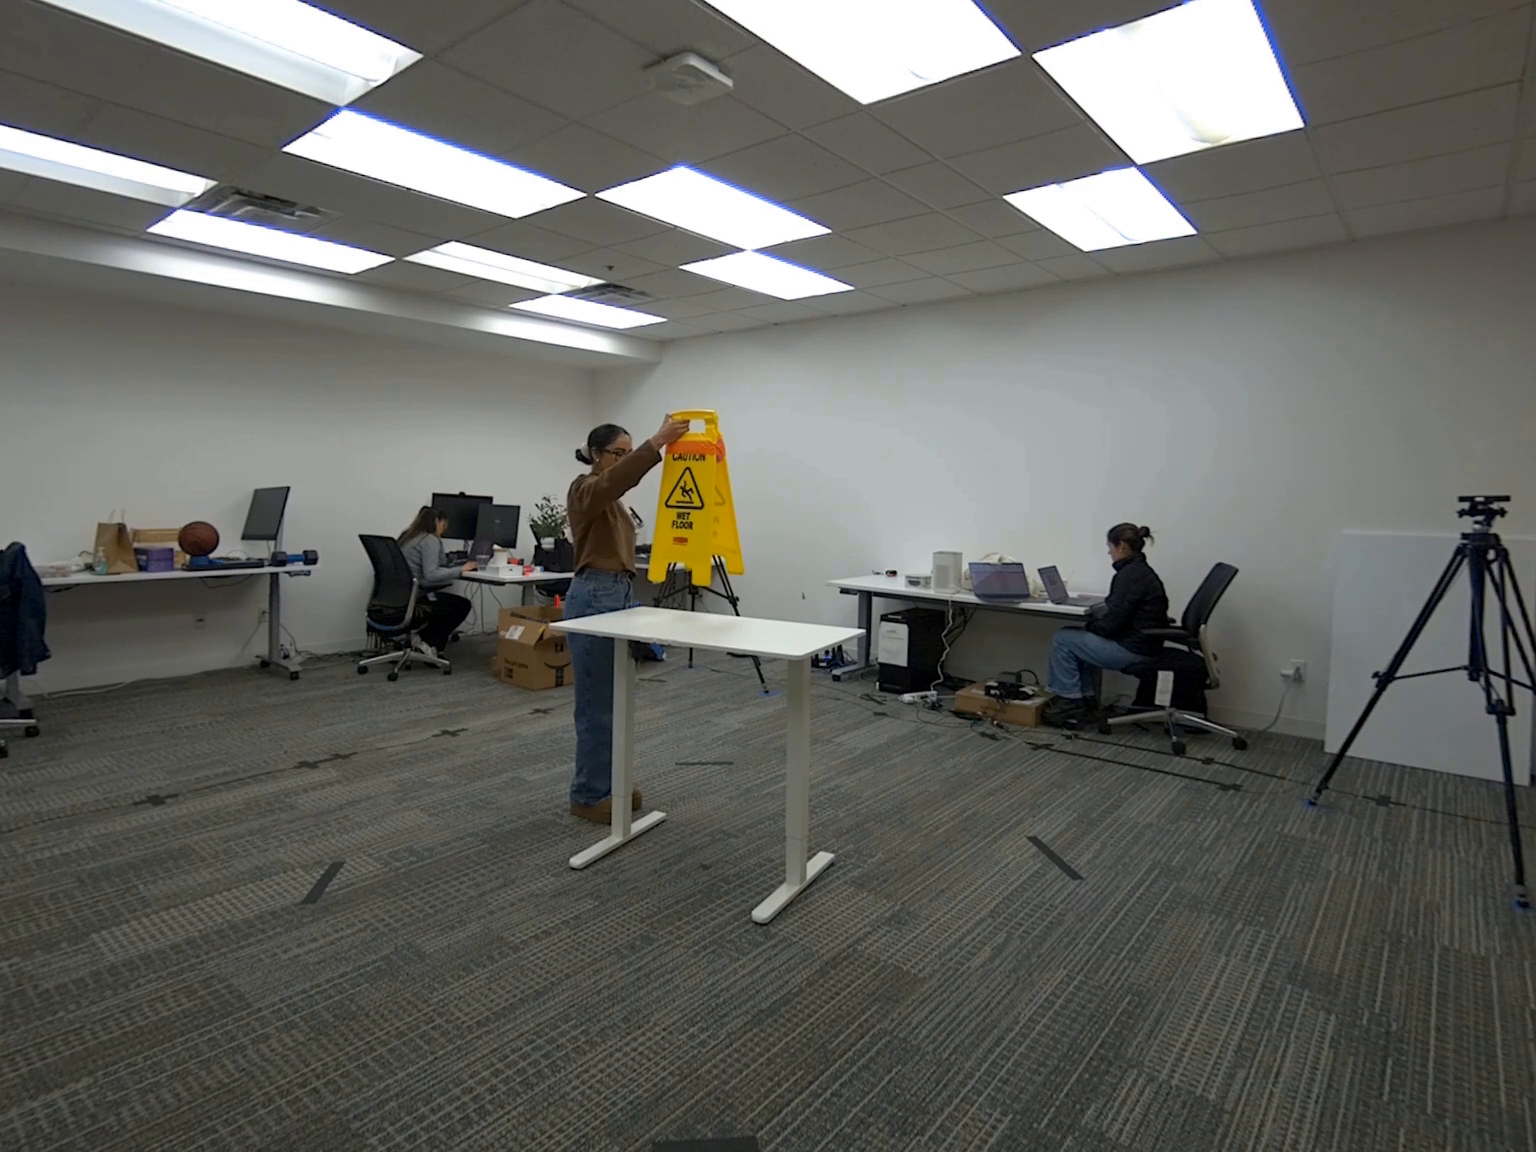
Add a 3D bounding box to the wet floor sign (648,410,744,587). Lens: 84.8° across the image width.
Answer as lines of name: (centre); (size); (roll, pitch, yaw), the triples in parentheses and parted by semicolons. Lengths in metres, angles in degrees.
wet floor sign: (-0.293, -0.312, 3.285); (0.290, 0.641, 0.284); (3, 9, 28)
